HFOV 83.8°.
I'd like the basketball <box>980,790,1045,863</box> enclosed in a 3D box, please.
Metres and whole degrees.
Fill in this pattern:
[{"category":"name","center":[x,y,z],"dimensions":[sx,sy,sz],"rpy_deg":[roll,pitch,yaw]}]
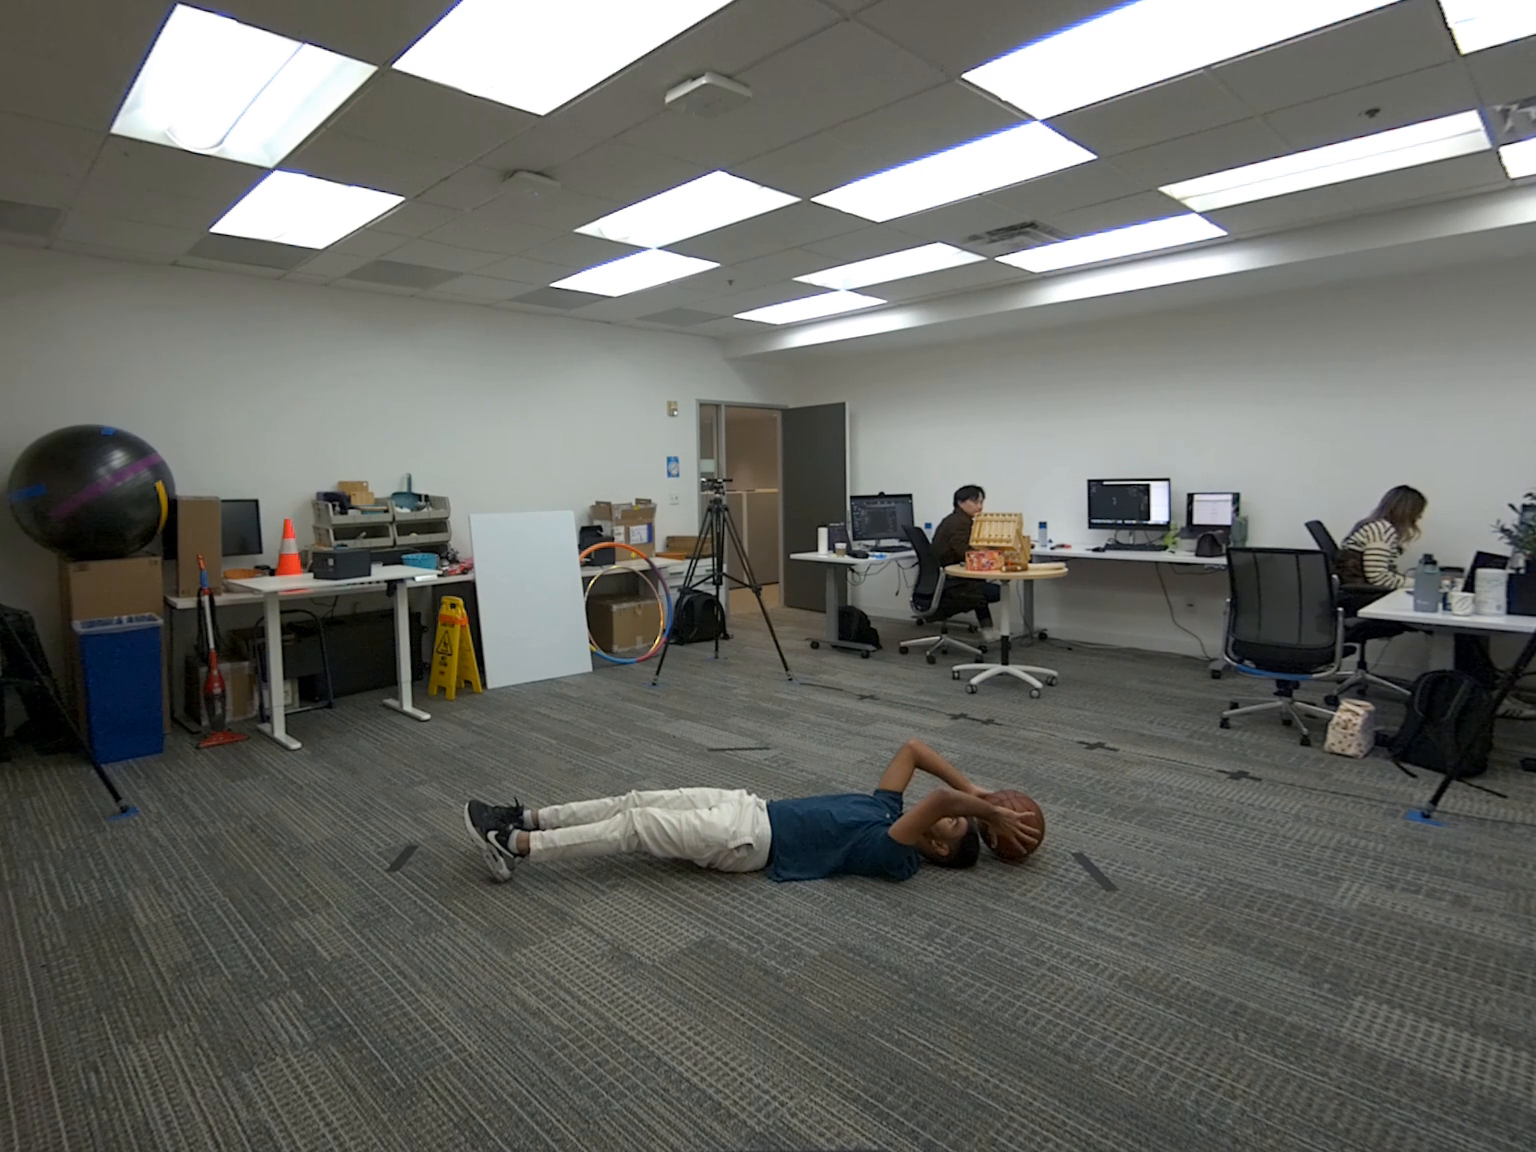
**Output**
[{"category":"basketball","center":[0.894,0.905,3.133],"dimensions":[0.236,0.235,0.237],"rpy_deg":[-1,5,-2]}]
